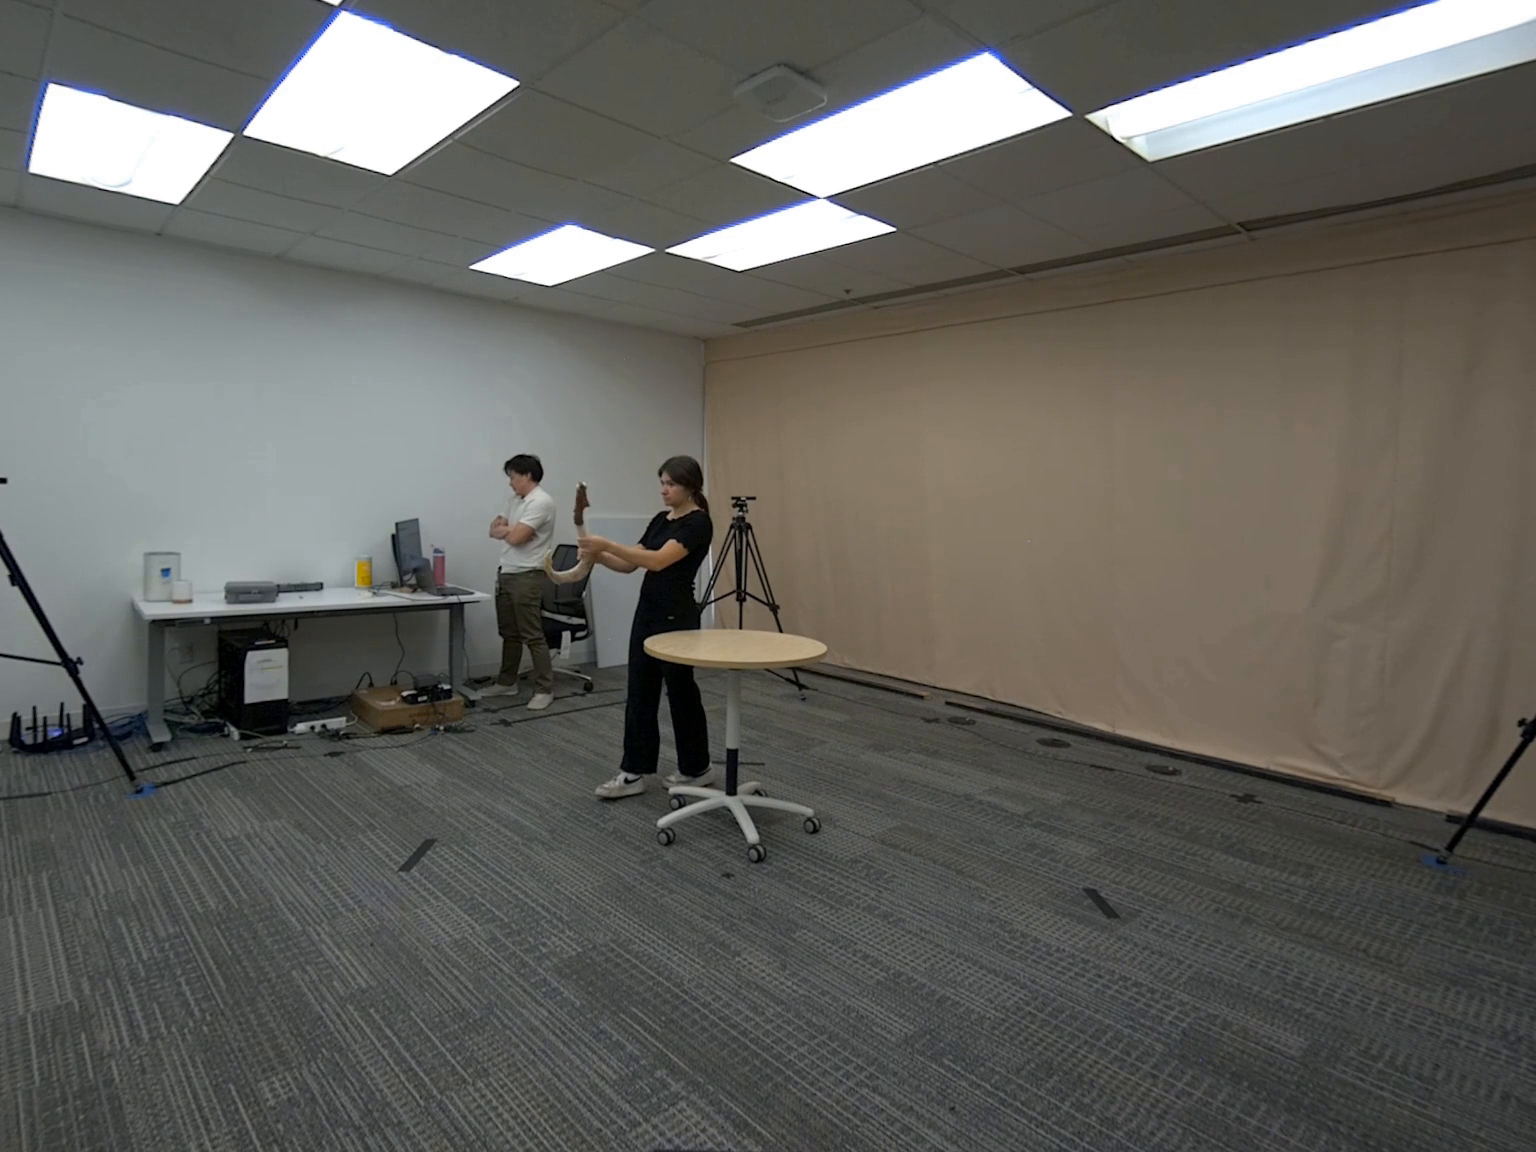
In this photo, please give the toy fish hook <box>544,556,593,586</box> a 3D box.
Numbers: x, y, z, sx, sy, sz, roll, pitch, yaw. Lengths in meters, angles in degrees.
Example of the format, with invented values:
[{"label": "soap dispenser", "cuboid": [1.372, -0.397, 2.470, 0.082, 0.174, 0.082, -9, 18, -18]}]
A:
[{"label": "toy fish hook", "cuboid": [-0.864, -0.172, 3.624, 0.221, 0.498, 0.050, -14, 39, -31]}]
